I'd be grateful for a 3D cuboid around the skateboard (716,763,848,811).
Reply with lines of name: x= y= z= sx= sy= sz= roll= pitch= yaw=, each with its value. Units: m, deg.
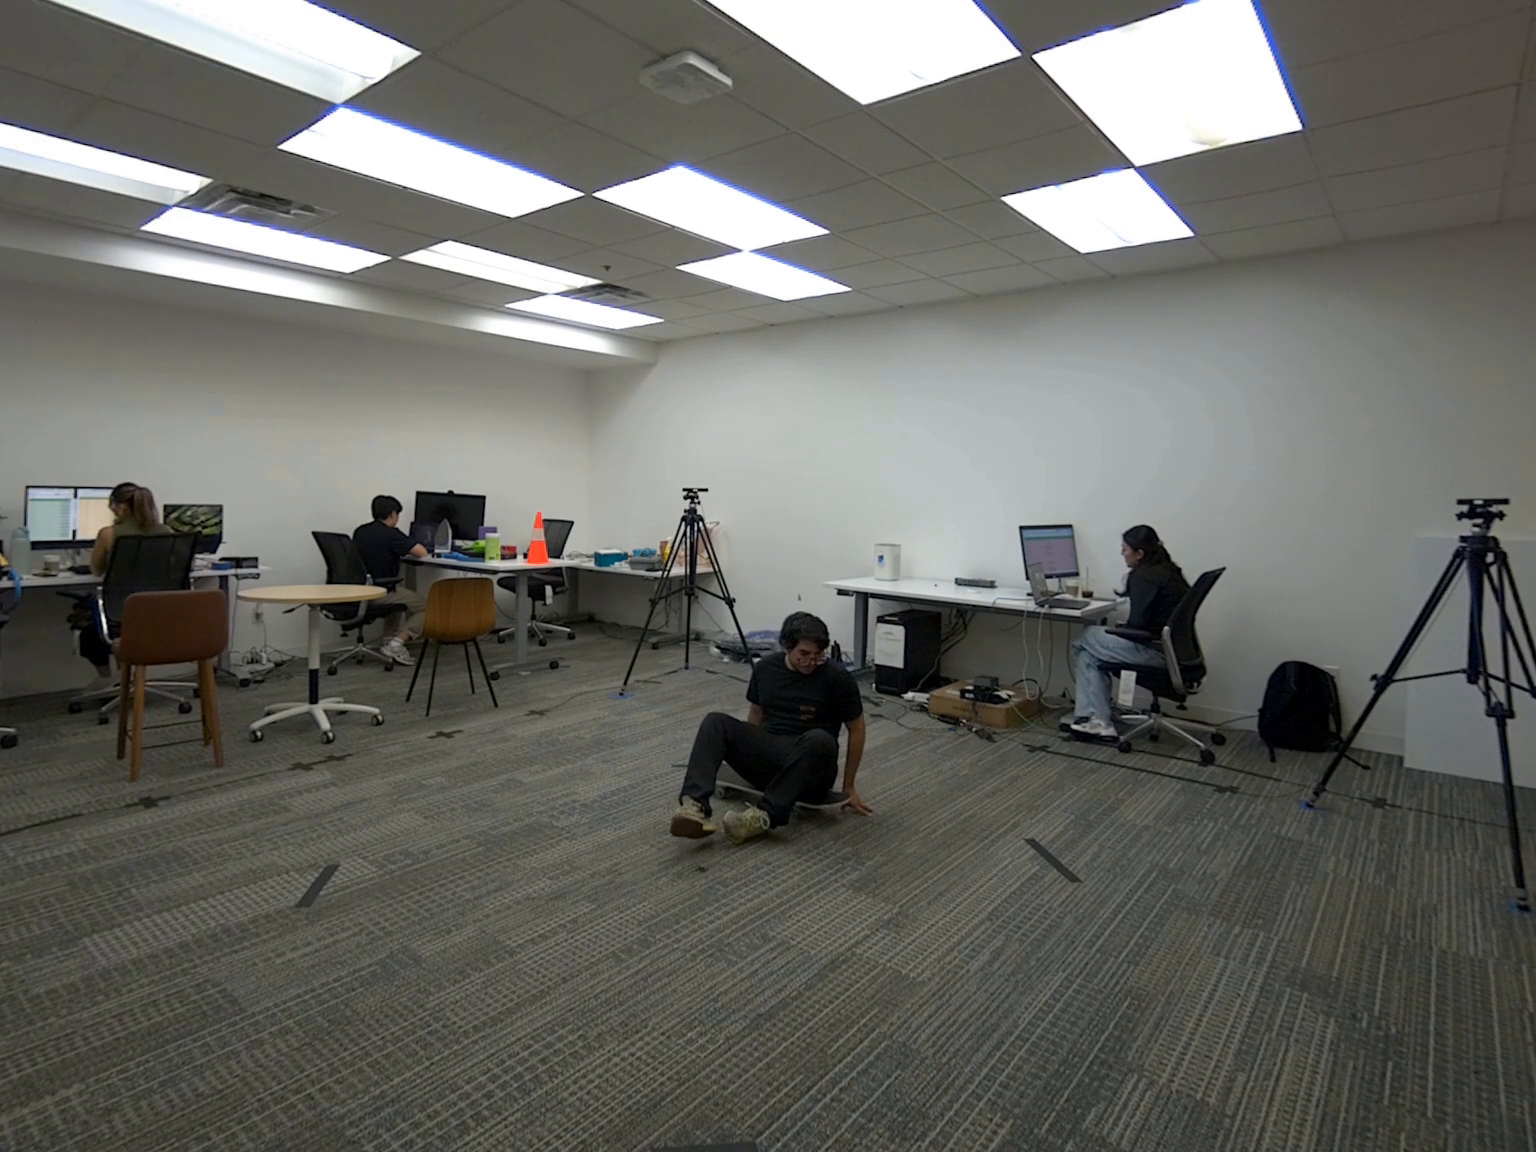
skateboard: x=-0.010 y=0.958 z=3.791 sx=0.811 sy=0.110 sz=0.188 roll=6 pitch=9 yaw=34
